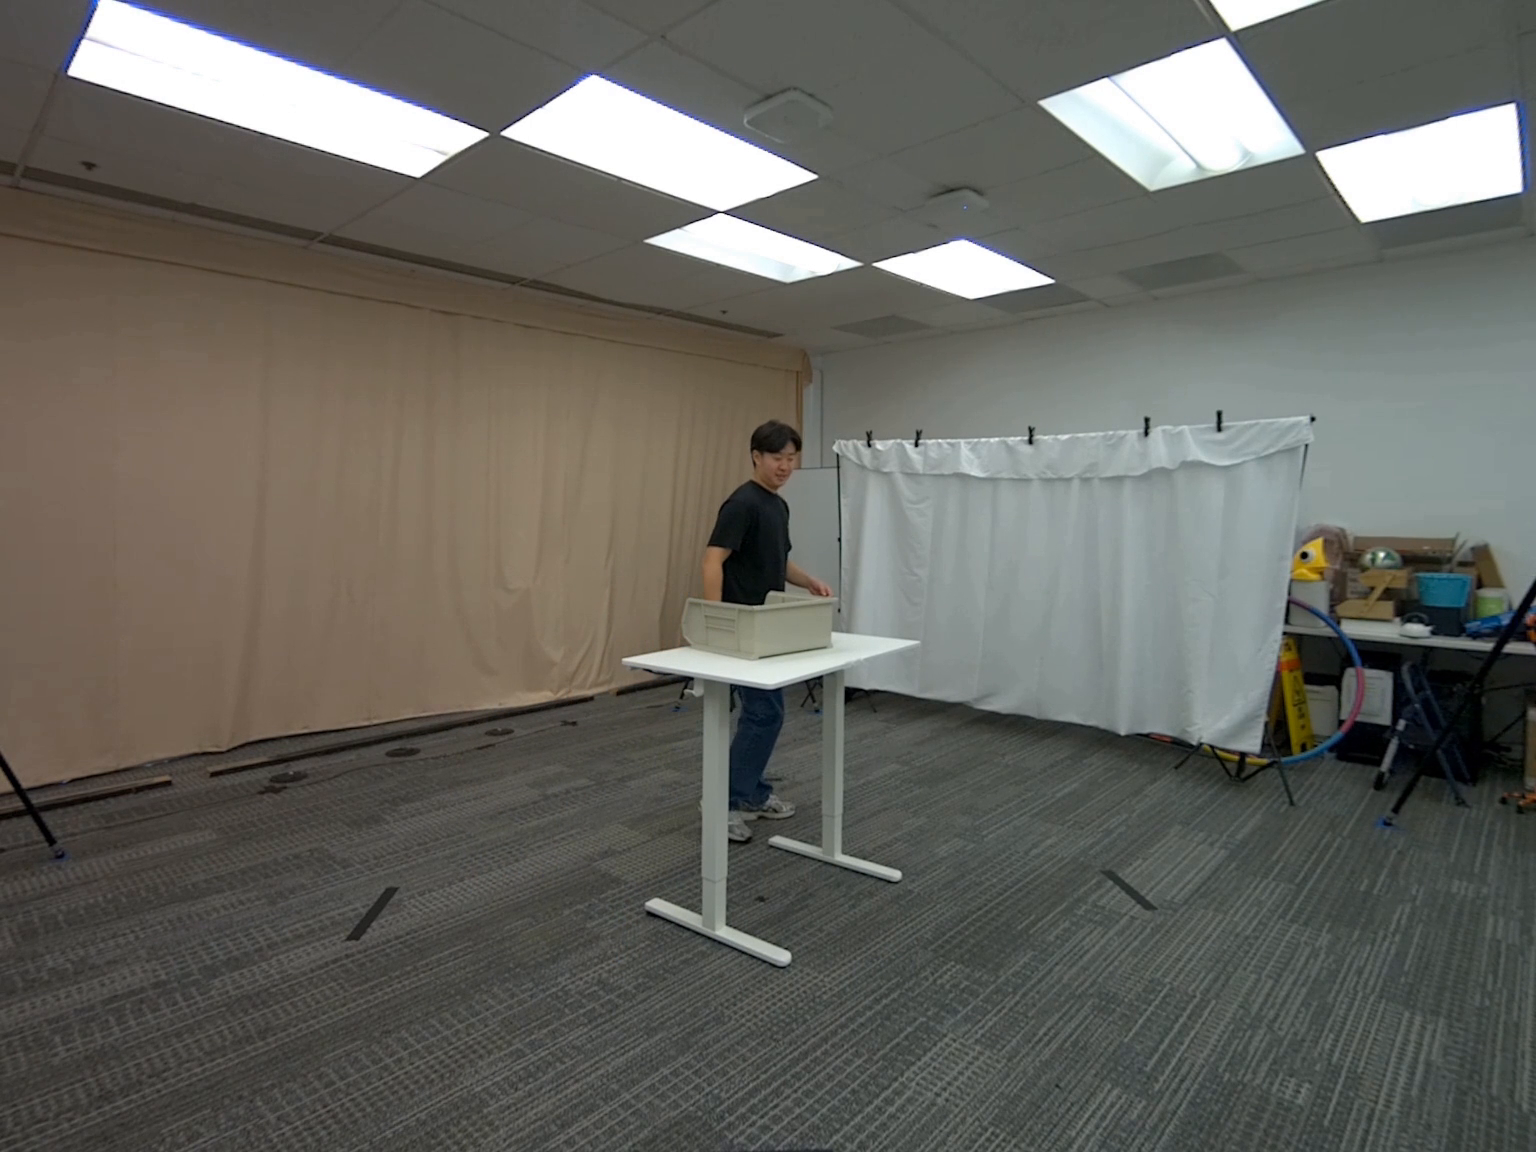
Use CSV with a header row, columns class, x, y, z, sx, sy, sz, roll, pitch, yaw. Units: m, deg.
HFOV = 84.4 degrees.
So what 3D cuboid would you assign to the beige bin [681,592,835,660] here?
class,x,y,z,sx,sy,sz,roll,pitch,yaw
beige bin,-0.036,0.169,3.019,0.409,0.188,0.390,-3,7,-44
